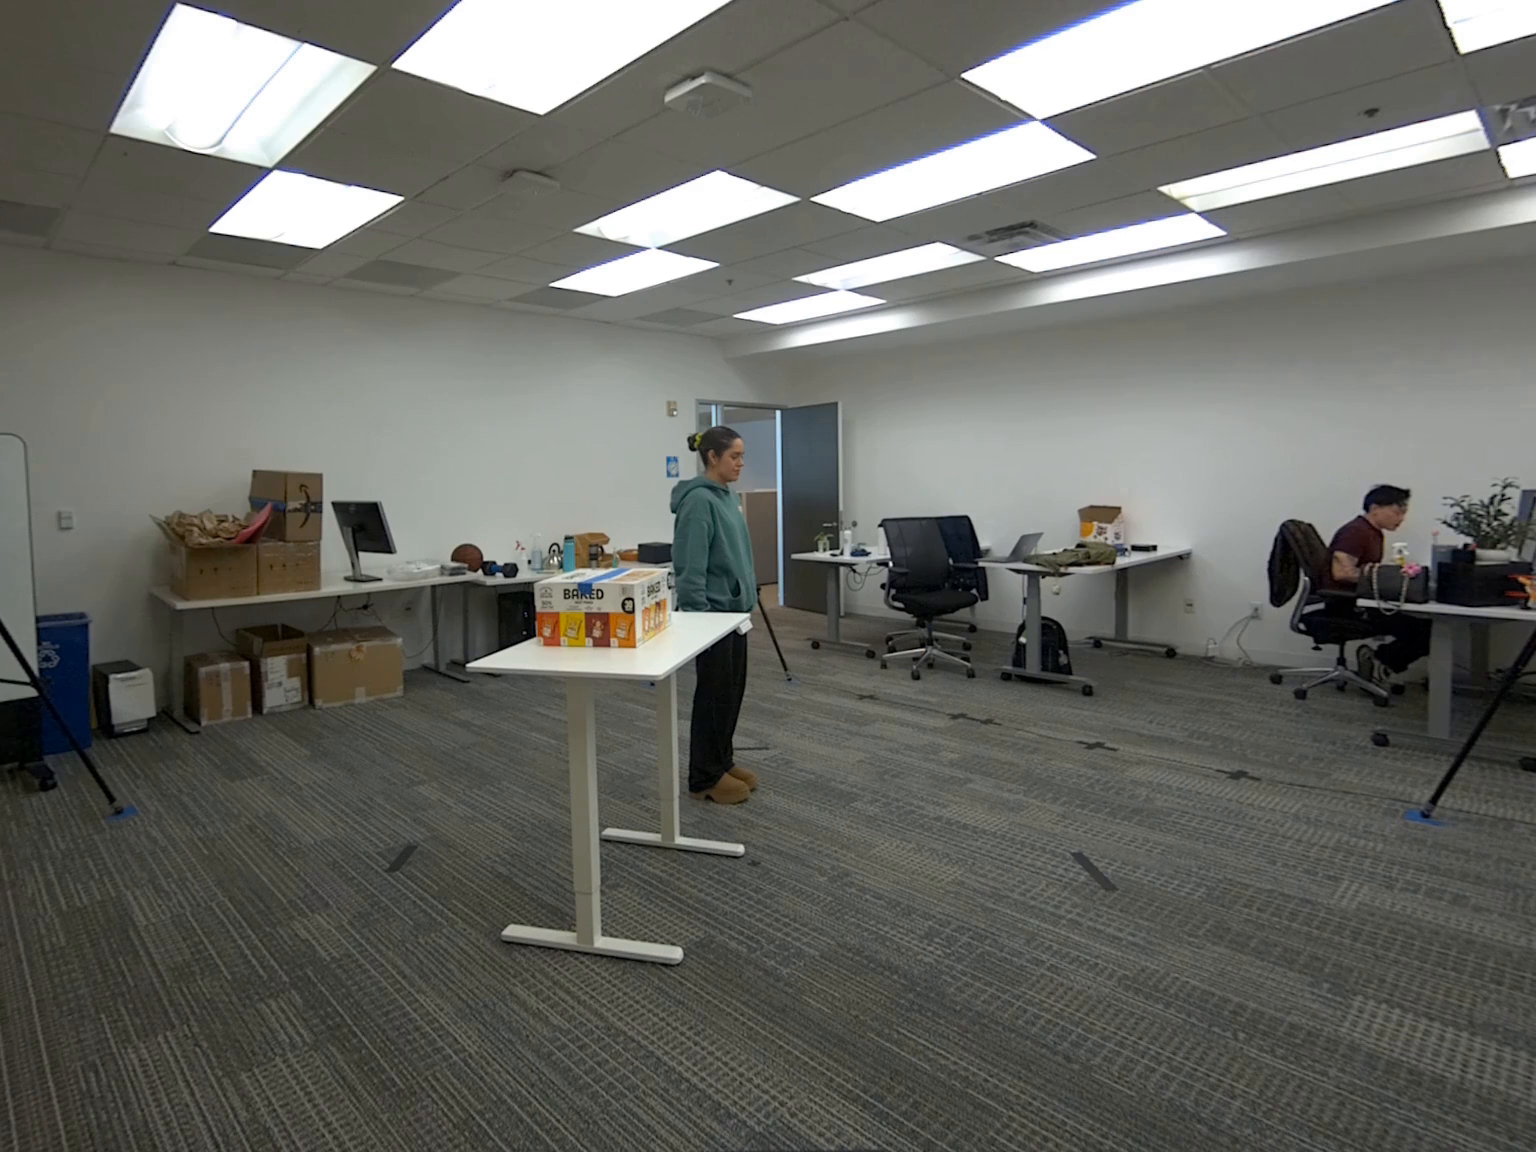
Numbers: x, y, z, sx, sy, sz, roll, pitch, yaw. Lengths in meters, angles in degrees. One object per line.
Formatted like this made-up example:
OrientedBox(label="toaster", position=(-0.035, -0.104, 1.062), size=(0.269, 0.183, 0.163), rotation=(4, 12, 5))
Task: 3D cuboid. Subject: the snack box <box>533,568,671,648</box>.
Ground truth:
OrientedBox(label="snack box", position=(-0.540, 0.097, 2.877), size=(0.344, 0.204, 0.402), rotation=(0, 7, 11))
